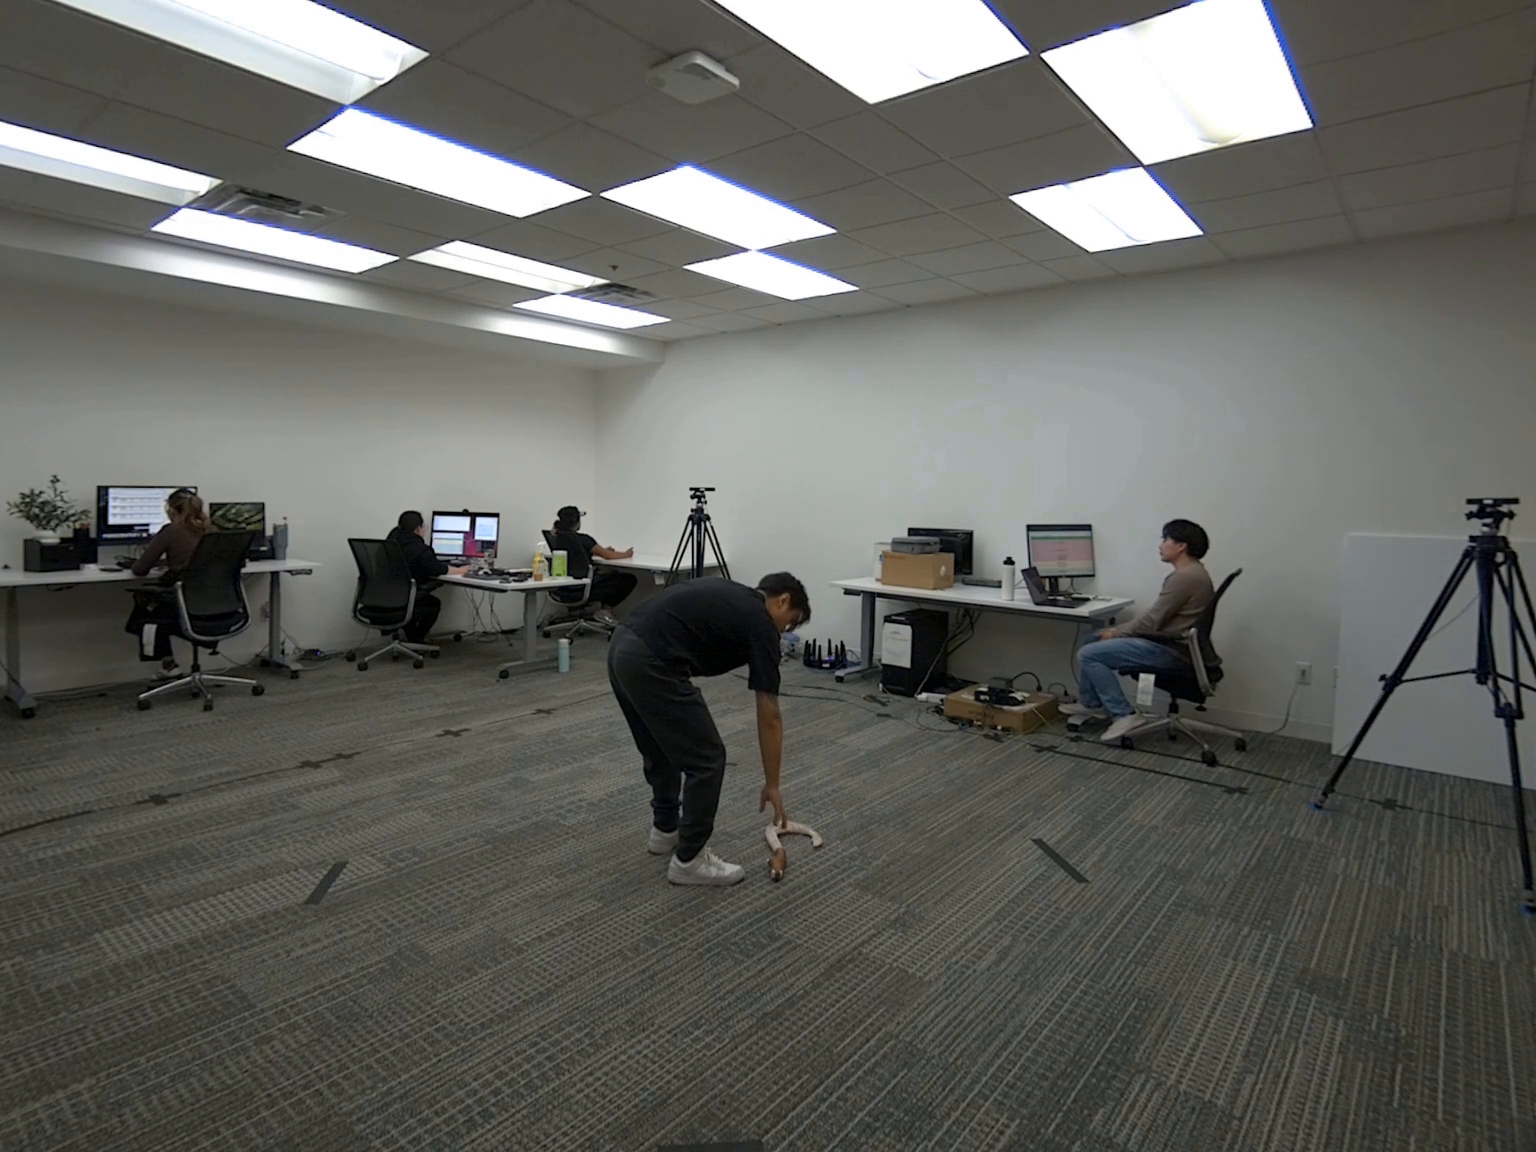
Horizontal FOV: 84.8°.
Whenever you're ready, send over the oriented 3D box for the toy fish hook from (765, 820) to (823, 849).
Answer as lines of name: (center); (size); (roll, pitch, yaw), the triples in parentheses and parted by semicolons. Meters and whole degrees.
toy fish hook: (0.089, 1.034, 3.245); (0.226, 0.048, 0.506); (-1, 6, 3)
